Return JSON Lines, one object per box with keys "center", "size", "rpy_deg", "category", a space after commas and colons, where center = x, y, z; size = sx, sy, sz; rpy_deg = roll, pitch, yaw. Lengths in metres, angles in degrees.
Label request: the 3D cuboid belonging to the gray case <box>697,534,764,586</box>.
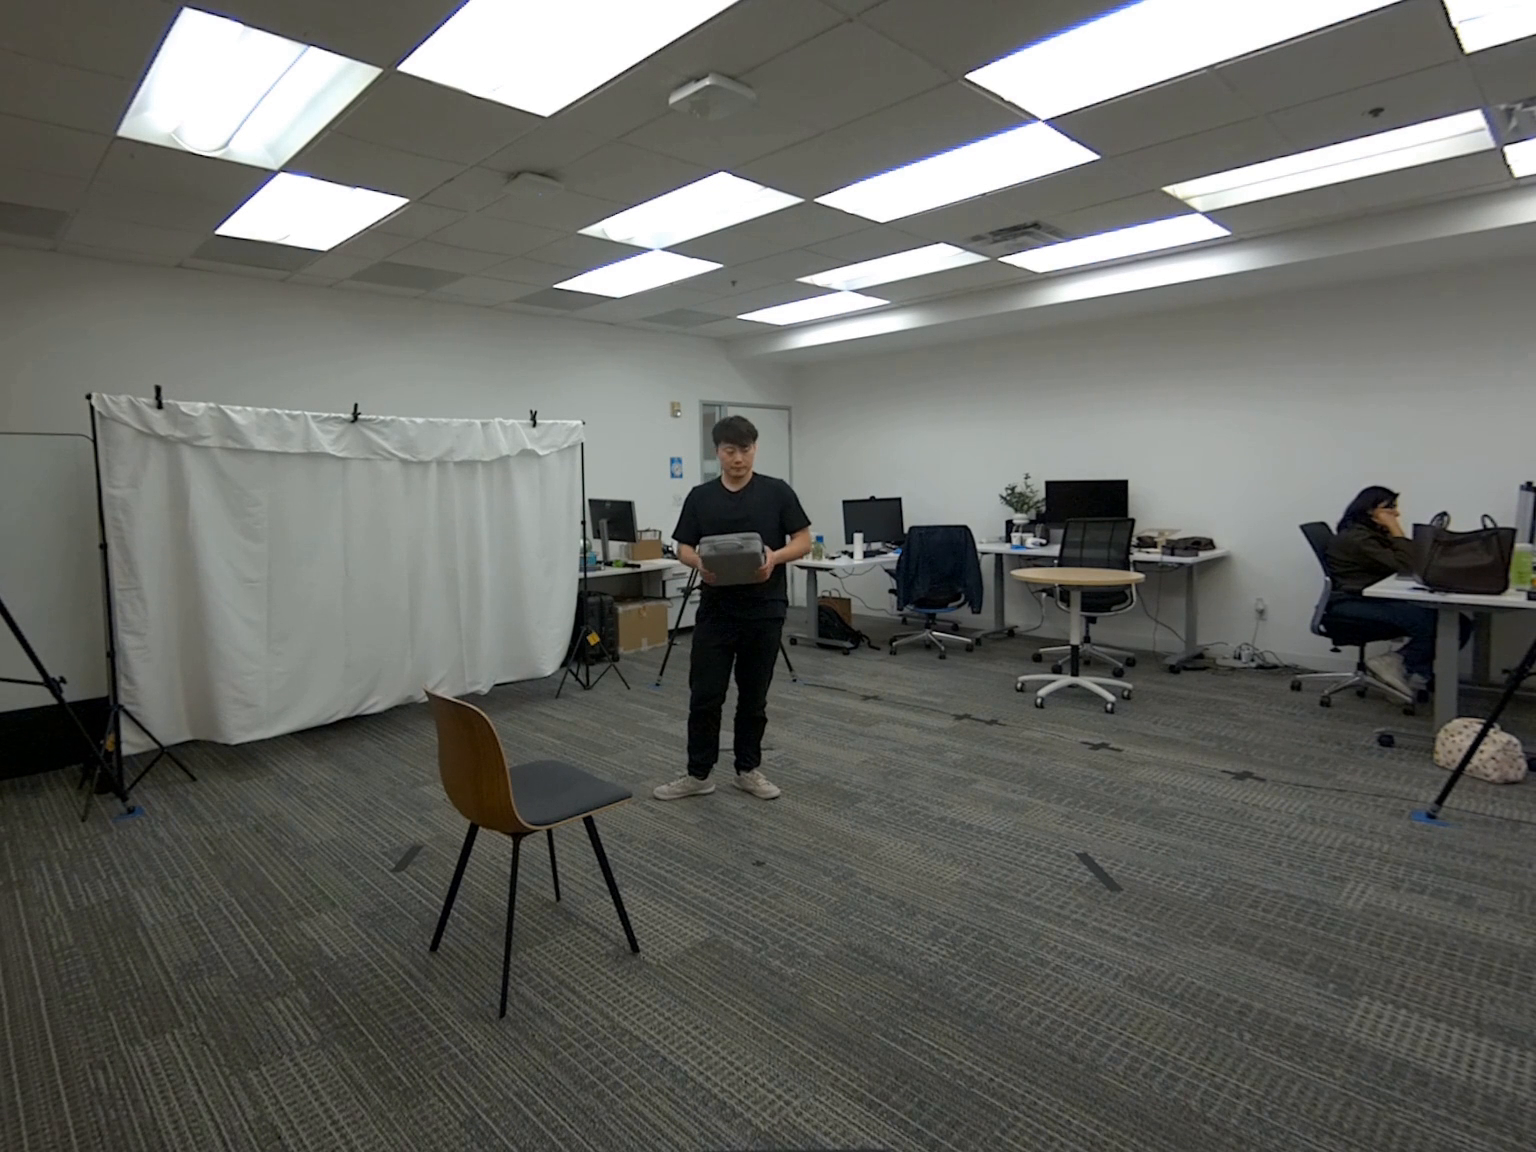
{"center": [-0.137, -0.071, 3.500], "size": [0.259, 0.107, 0.252], "rpy_deg": [-4, -32, 9], "category": "gray case"}
